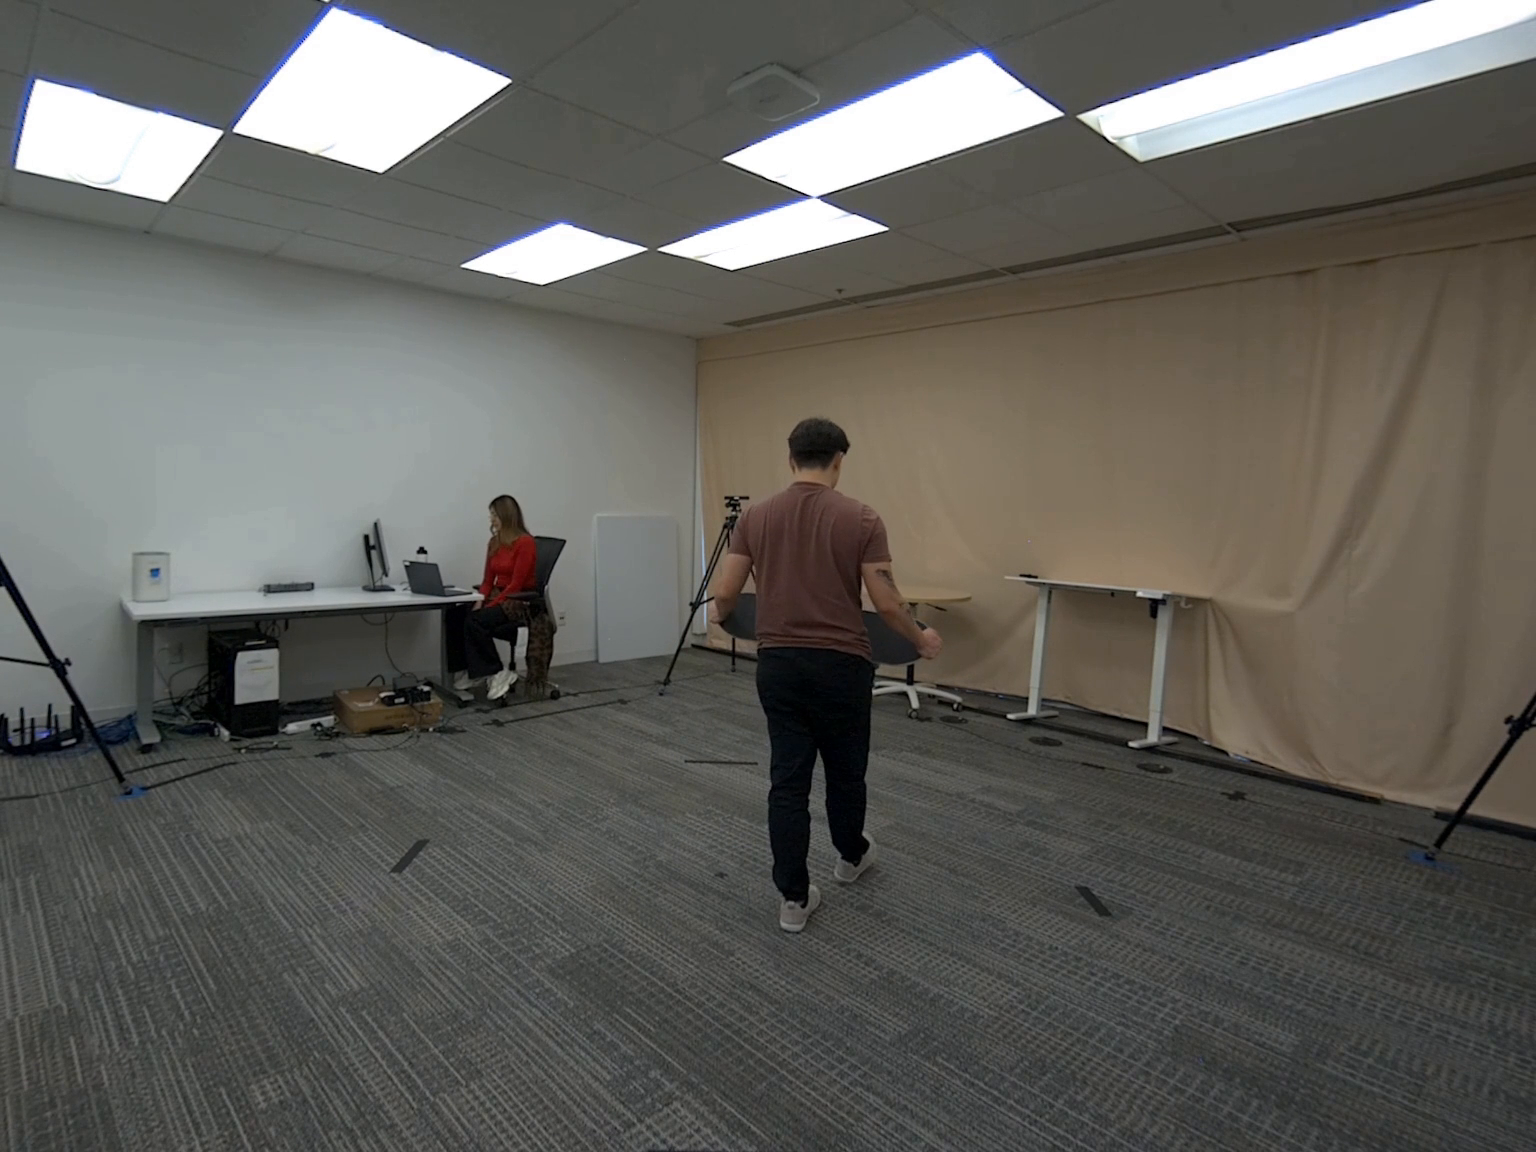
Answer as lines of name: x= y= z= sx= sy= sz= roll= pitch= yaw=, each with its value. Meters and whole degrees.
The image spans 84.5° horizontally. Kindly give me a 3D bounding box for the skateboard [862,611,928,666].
skateboard: x=0.201 y=0.207 z=3.043 sx=0.798 sy=0.195 sz=0.107 roll=8 pitch=-26 yaw=18
